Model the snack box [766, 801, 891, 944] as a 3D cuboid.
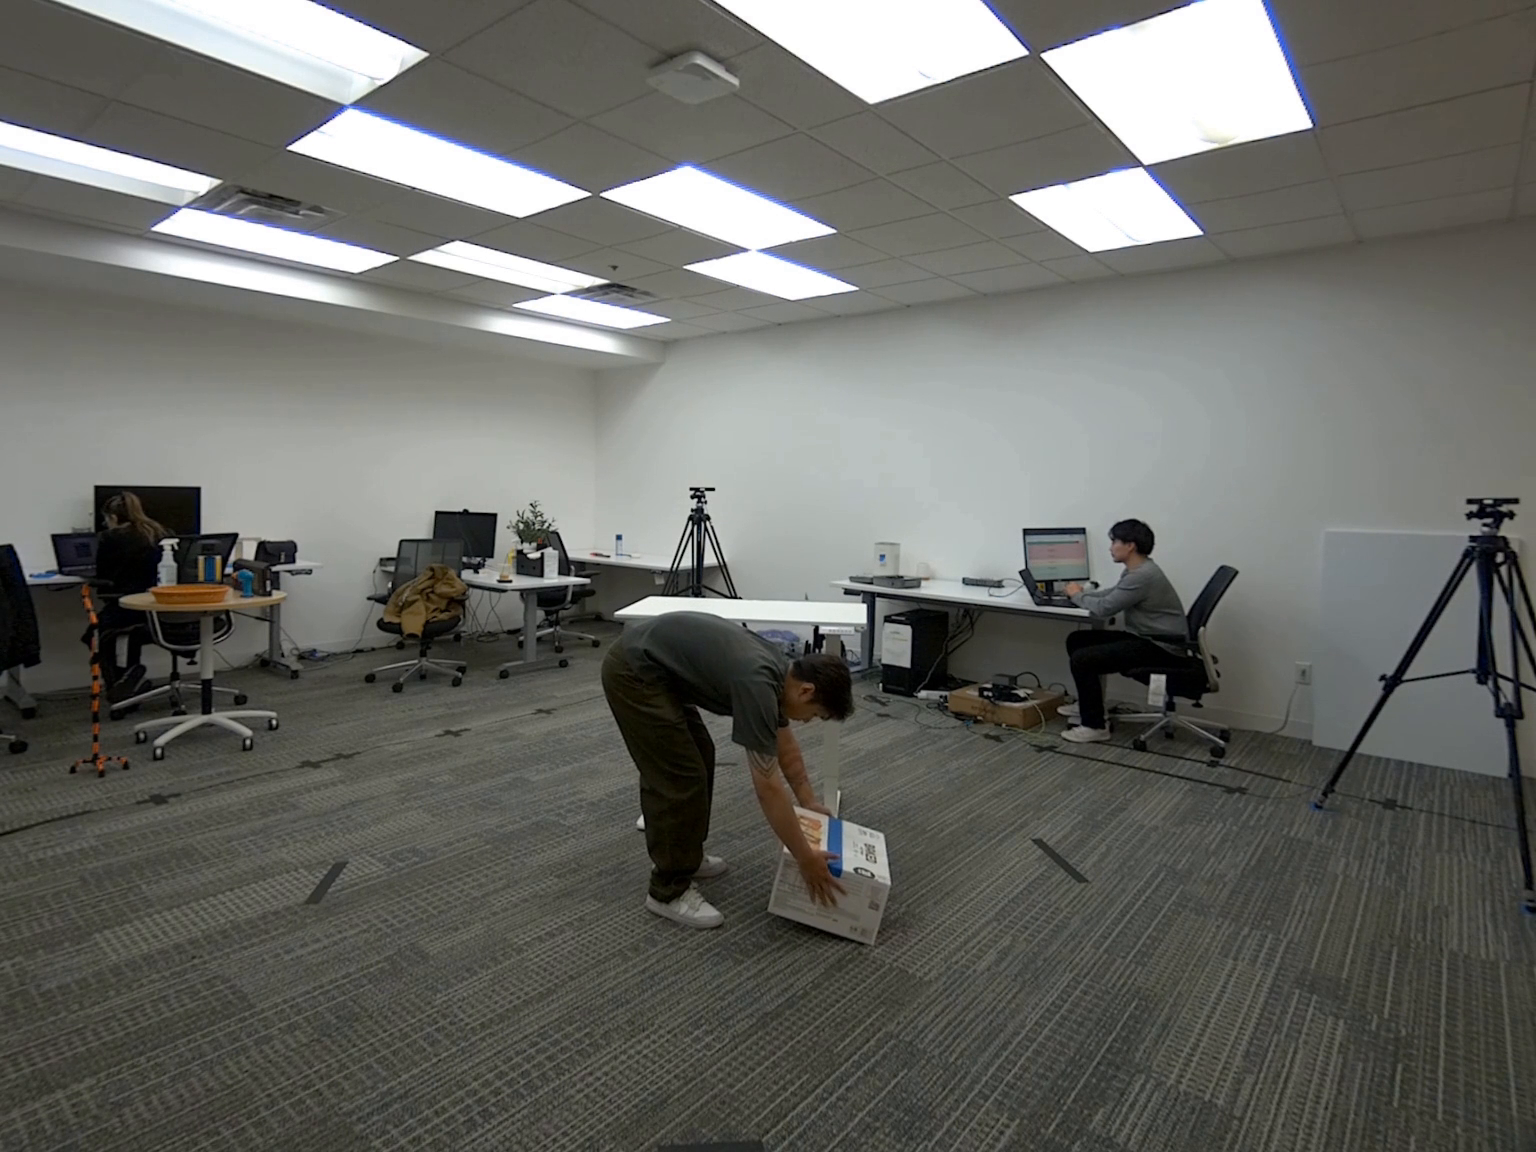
[{"bbox_3d":[0.198,0.966,2.802,0.343,0.205,0.404,15,6,4],"label":"snack box"}]
